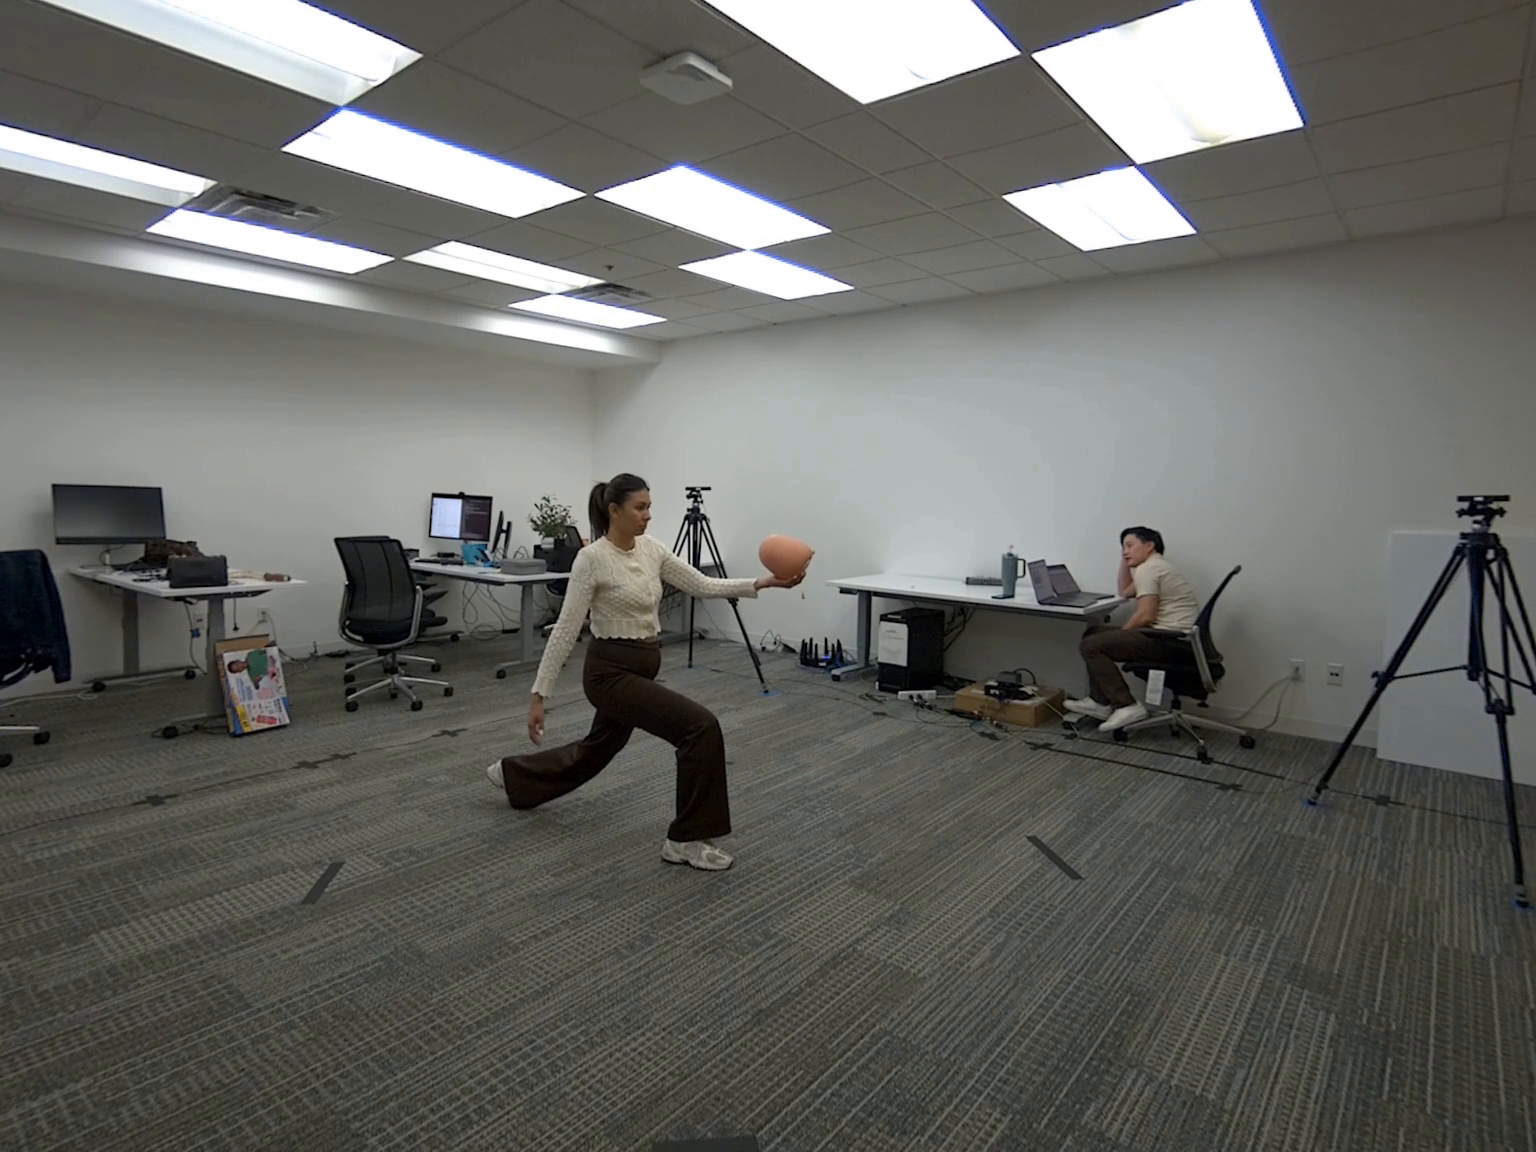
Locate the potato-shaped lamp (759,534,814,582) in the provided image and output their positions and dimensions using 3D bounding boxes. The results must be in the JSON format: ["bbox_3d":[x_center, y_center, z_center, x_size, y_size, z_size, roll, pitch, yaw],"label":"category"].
[{"bbox_3d":[0.049,-0.076,3.345,0.202,0.162,0.170,32,32,14],"label":"potato-shaped lamp"}]
